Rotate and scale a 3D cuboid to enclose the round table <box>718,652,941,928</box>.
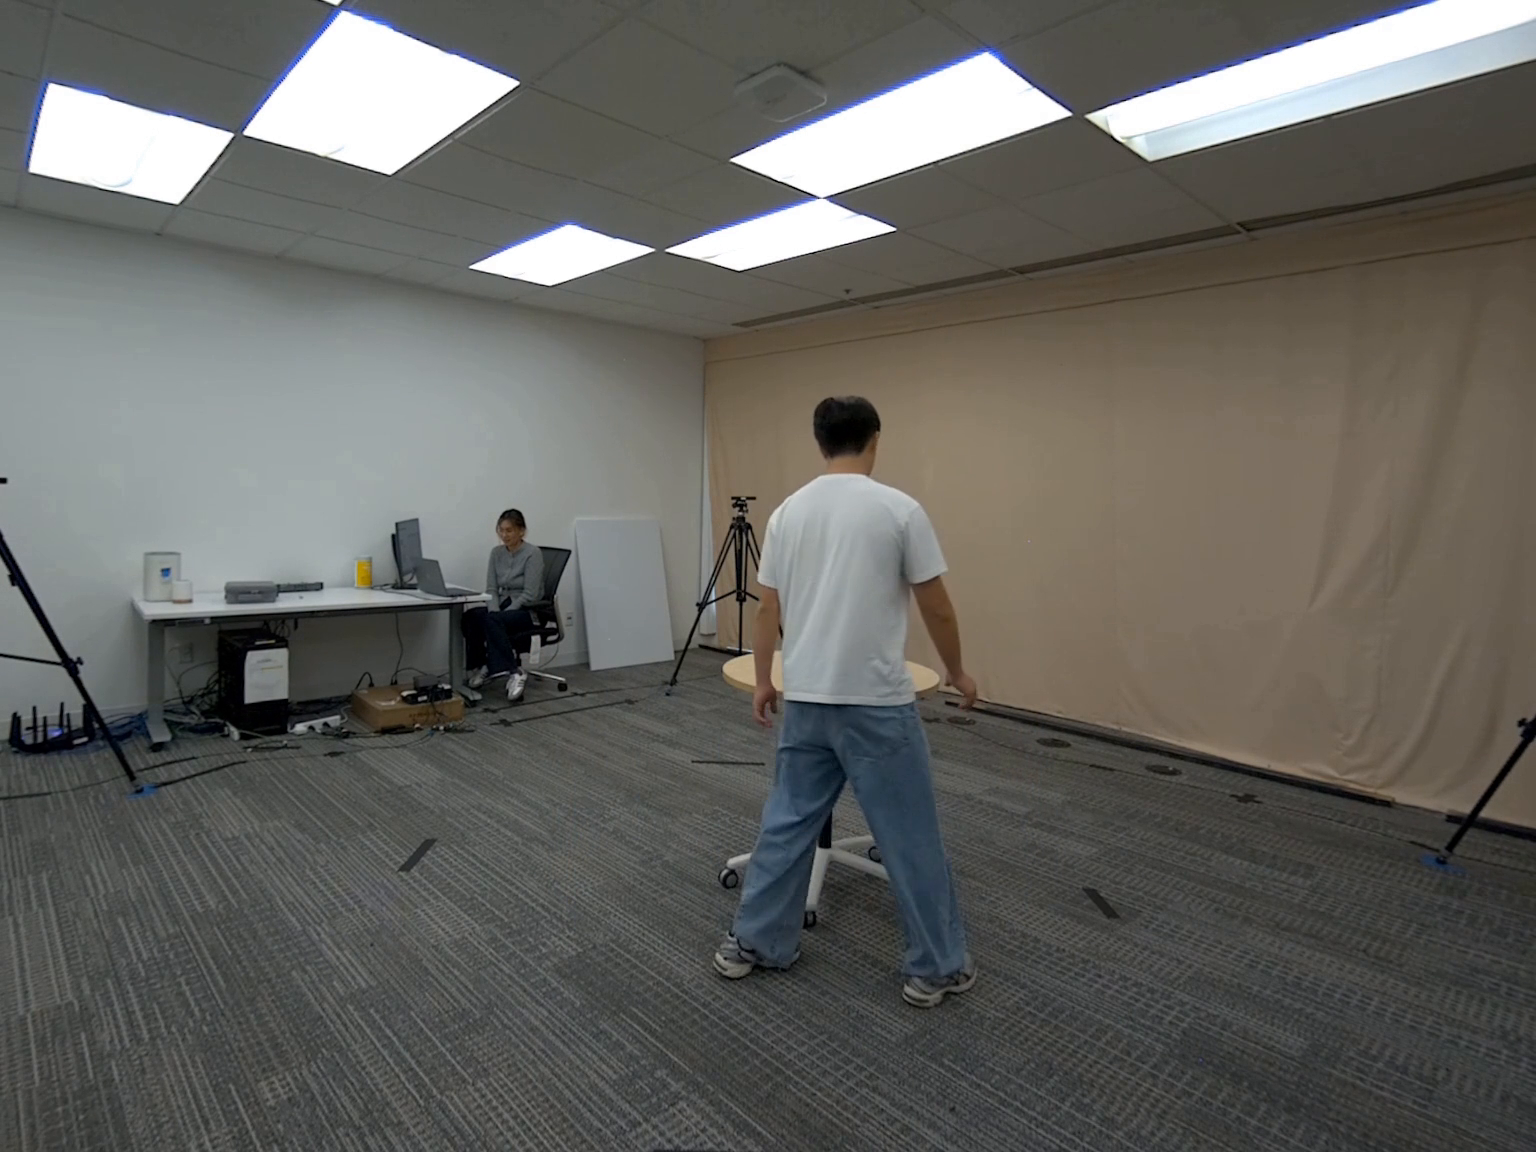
[{"bbox_3d":[0.202,0.734,3.029,0.763,0.792,0.767,1,4,-1],"label":"round table"}]
